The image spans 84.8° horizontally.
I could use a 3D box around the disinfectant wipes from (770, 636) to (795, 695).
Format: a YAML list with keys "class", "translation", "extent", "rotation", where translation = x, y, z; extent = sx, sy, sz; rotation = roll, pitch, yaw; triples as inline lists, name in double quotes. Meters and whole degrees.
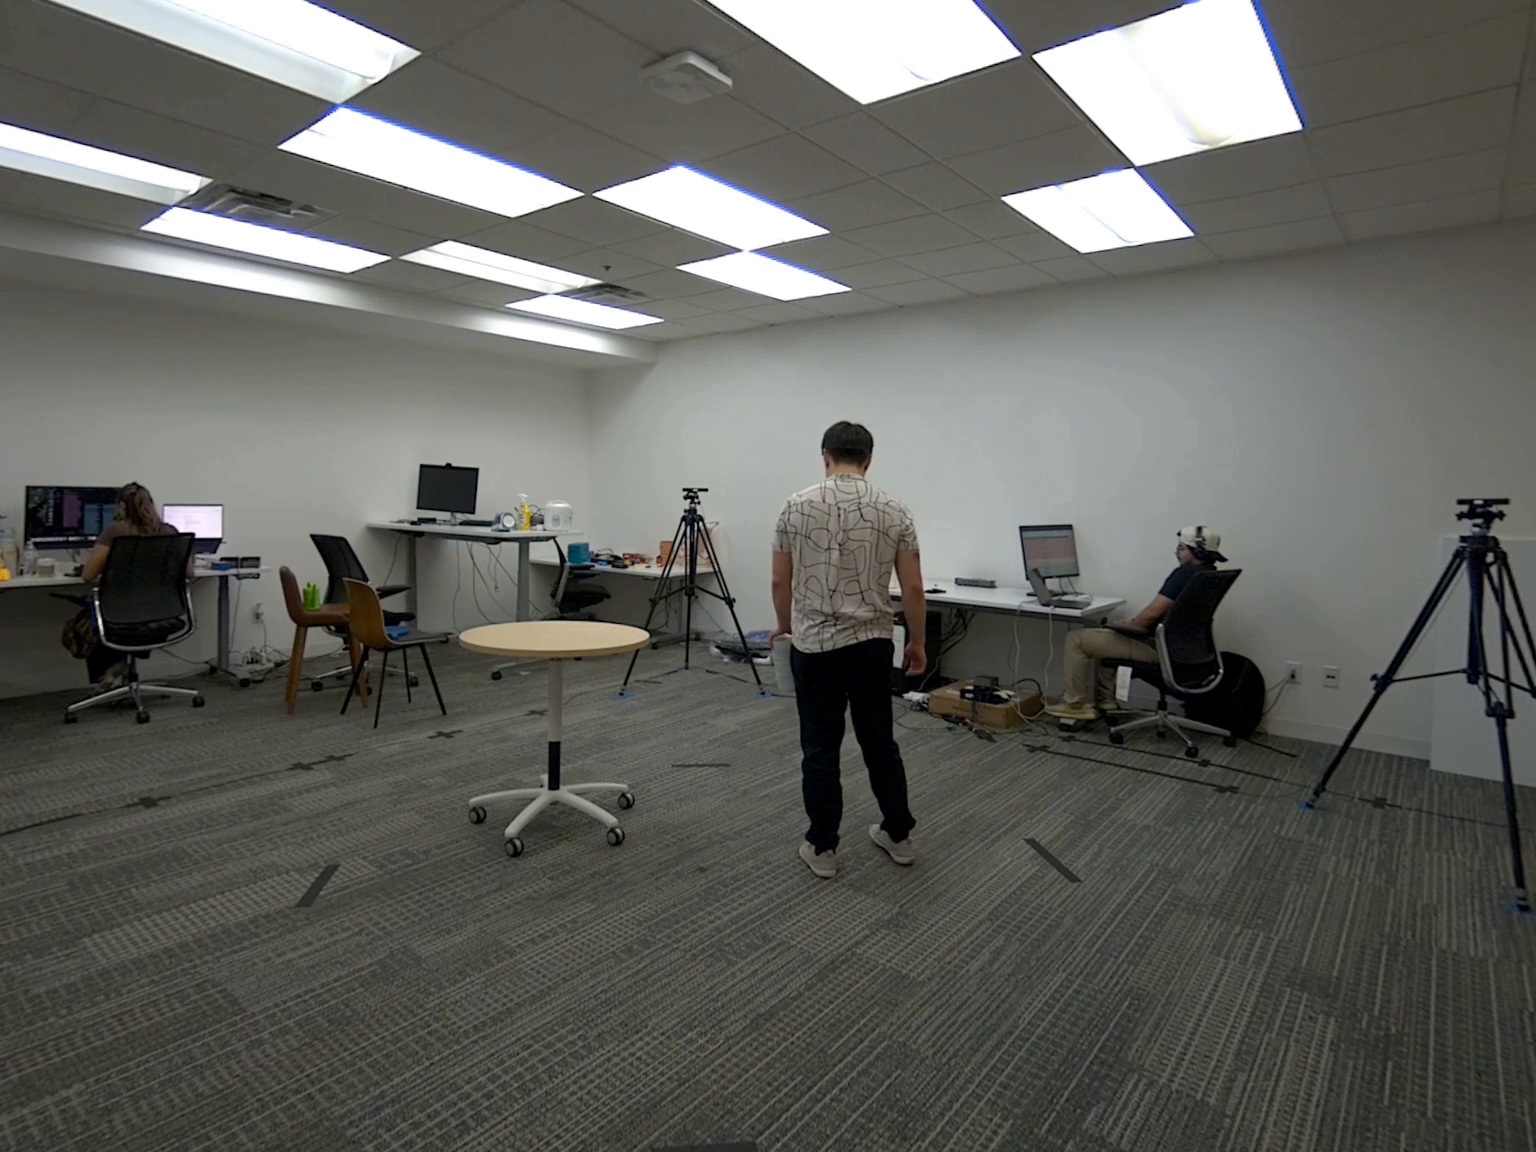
- class: "disinfectant wipes"
  translation: [0.068, 0.348, 3.391]
  extent: [0.118, 0.215, 0.119]
  rotation: [-7, 12, 0]
